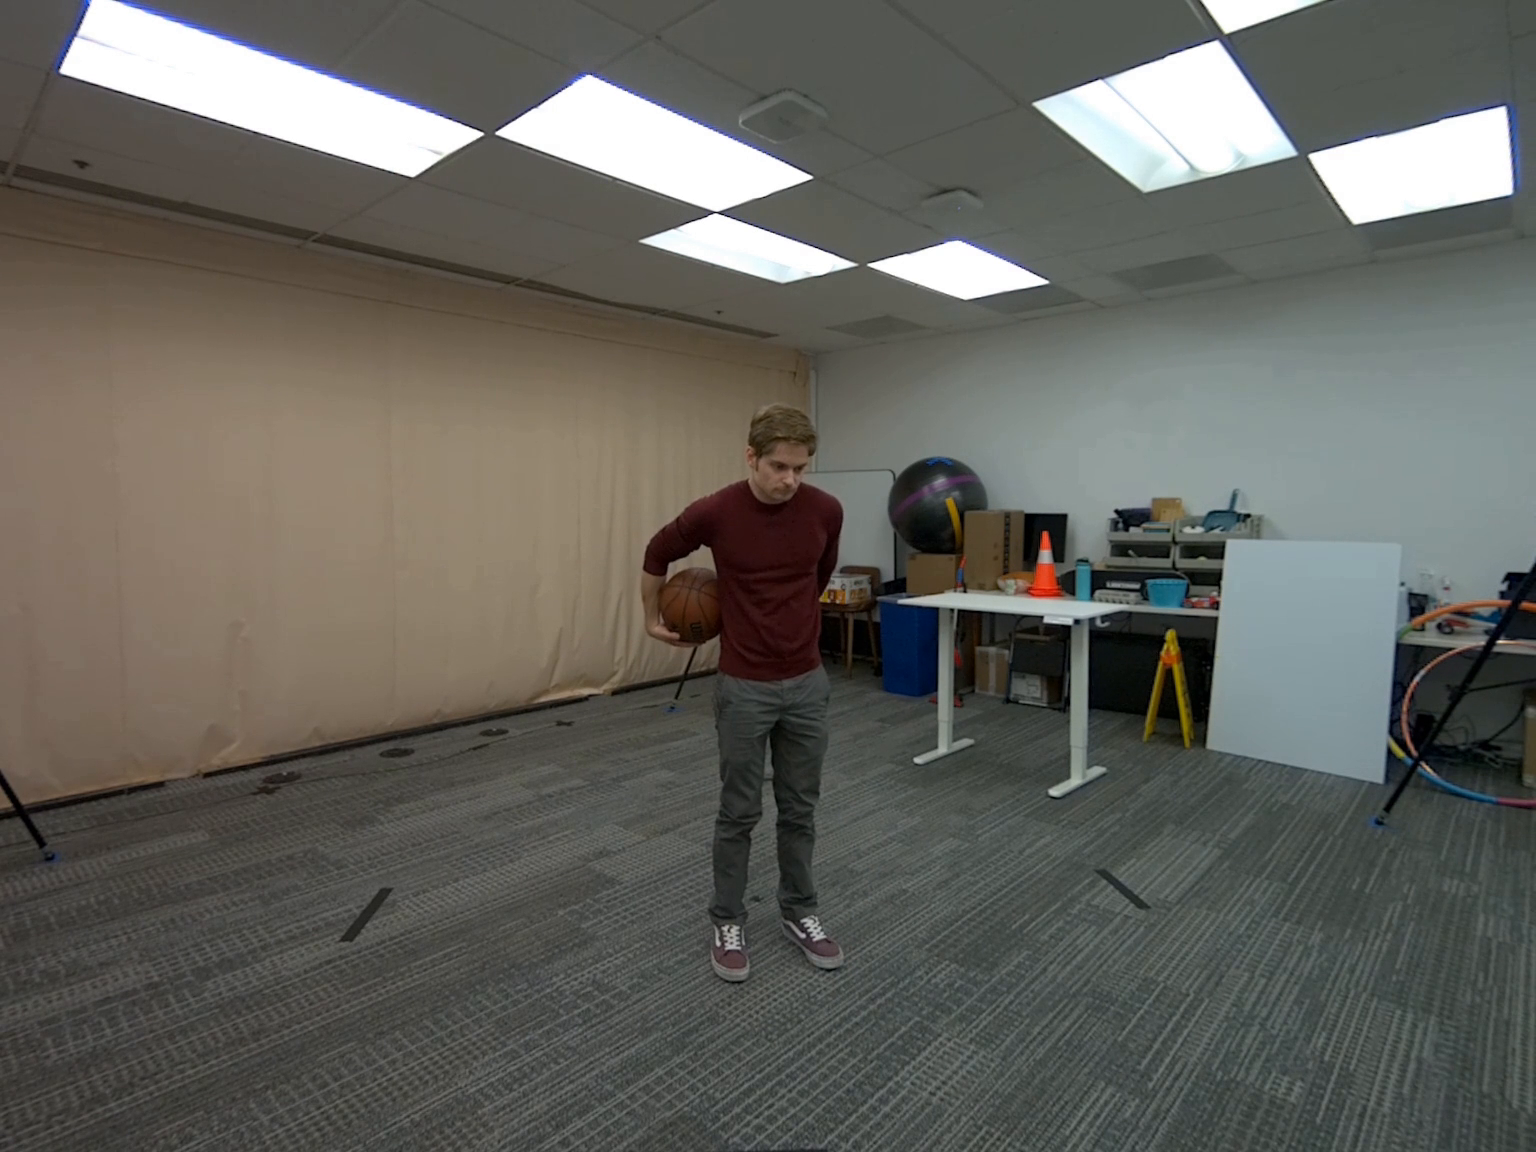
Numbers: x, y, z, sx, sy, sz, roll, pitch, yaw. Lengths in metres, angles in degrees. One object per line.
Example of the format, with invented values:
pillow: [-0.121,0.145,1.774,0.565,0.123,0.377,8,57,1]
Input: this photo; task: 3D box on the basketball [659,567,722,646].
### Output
basketball: [-0.216,0.091,2.690,0.236,0.235,0.237,0,4,-2]
